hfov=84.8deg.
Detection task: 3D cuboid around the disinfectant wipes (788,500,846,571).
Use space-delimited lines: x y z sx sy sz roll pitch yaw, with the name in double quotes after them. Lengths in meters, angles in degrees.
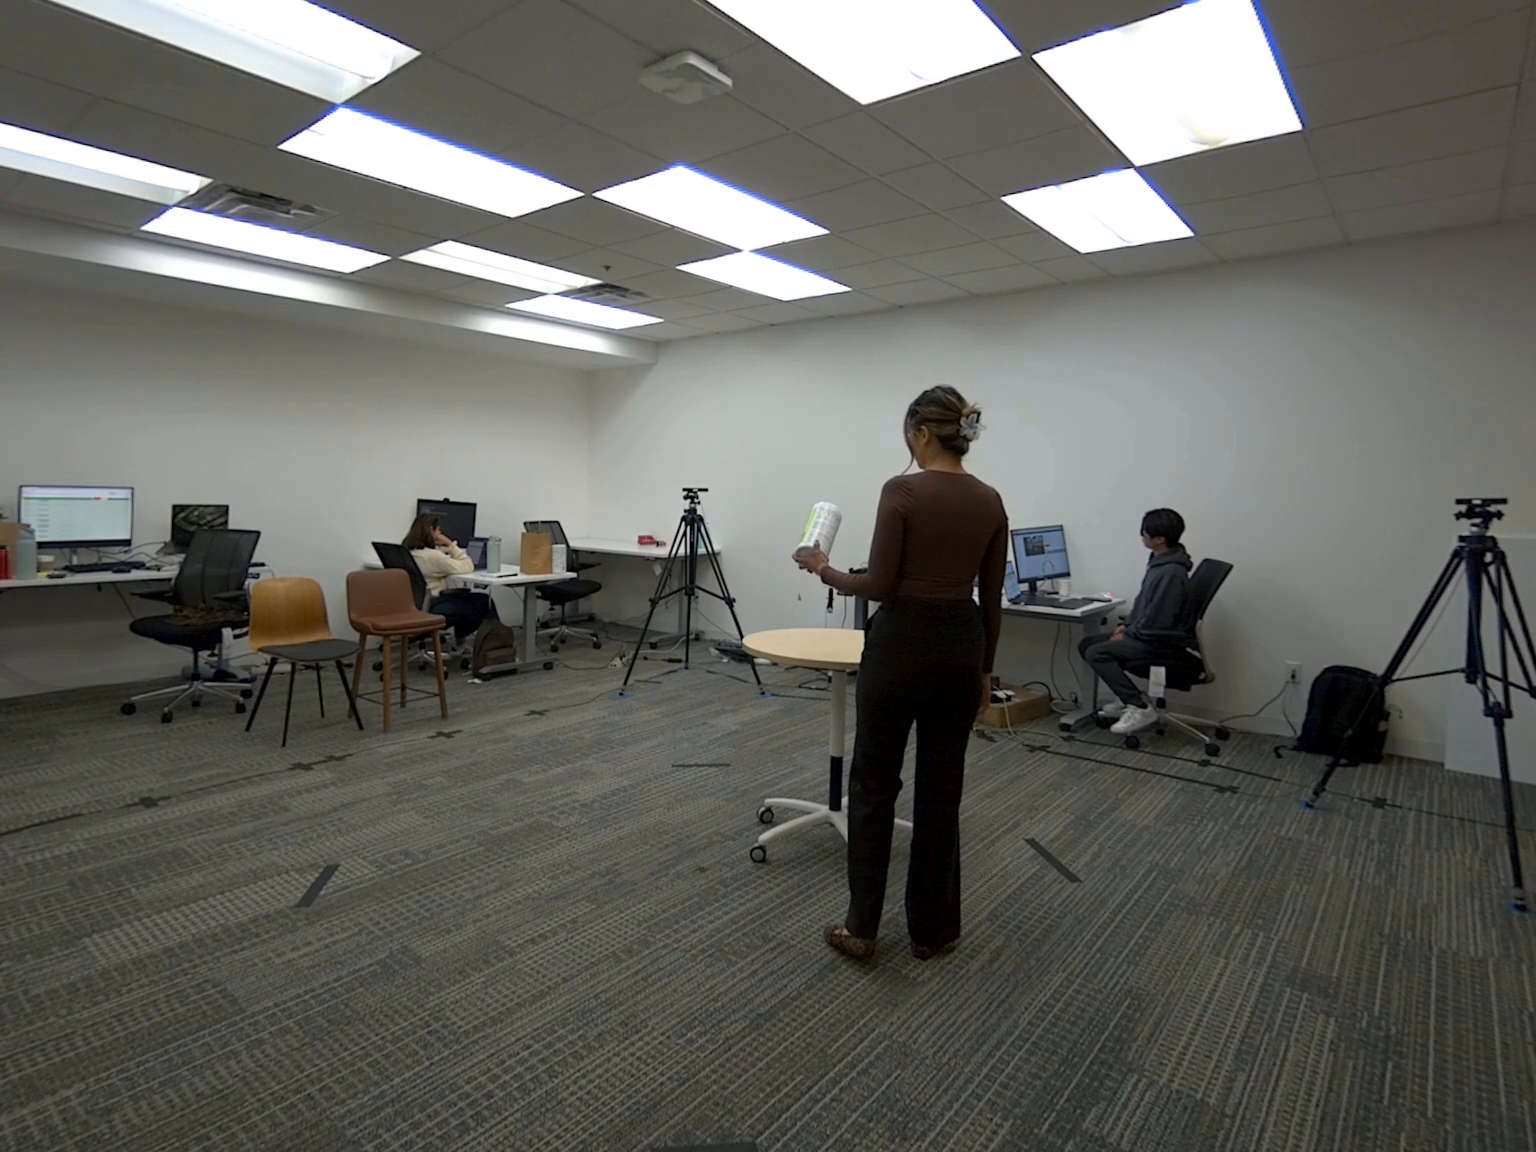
0.167 -0.139 2.854 0.121 0.220 0.113 2 -41 24 "disinfectant wipes"
